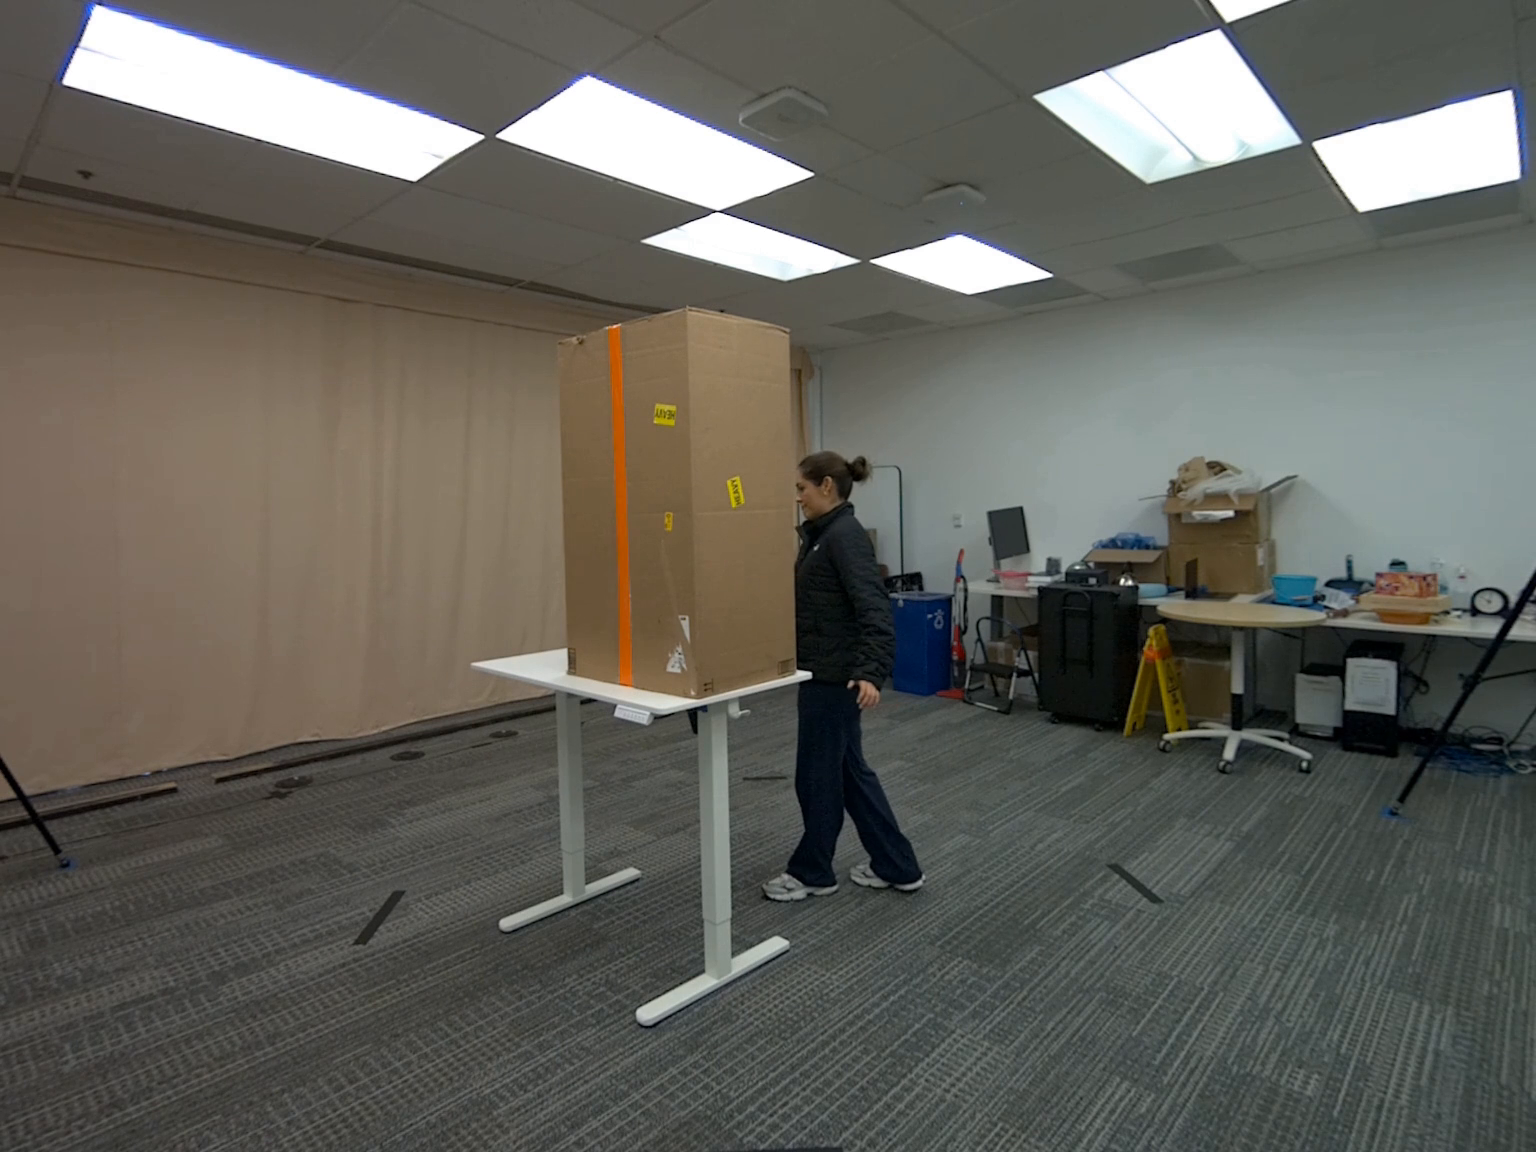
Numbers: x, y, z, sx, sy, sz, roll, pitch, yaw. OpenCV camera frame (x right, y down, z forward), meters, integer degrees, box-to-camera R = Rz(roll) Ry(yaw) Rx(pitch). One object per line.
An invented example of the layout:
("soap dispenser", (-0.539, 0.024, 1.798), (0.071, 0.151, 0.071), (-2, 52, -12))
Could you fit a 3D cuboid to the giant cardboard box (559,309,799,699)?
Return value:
("giant cardboard box", (-0.265, -0.206, 2.530), (0.596, 1.024, 0.413), (1, 4, 42))
